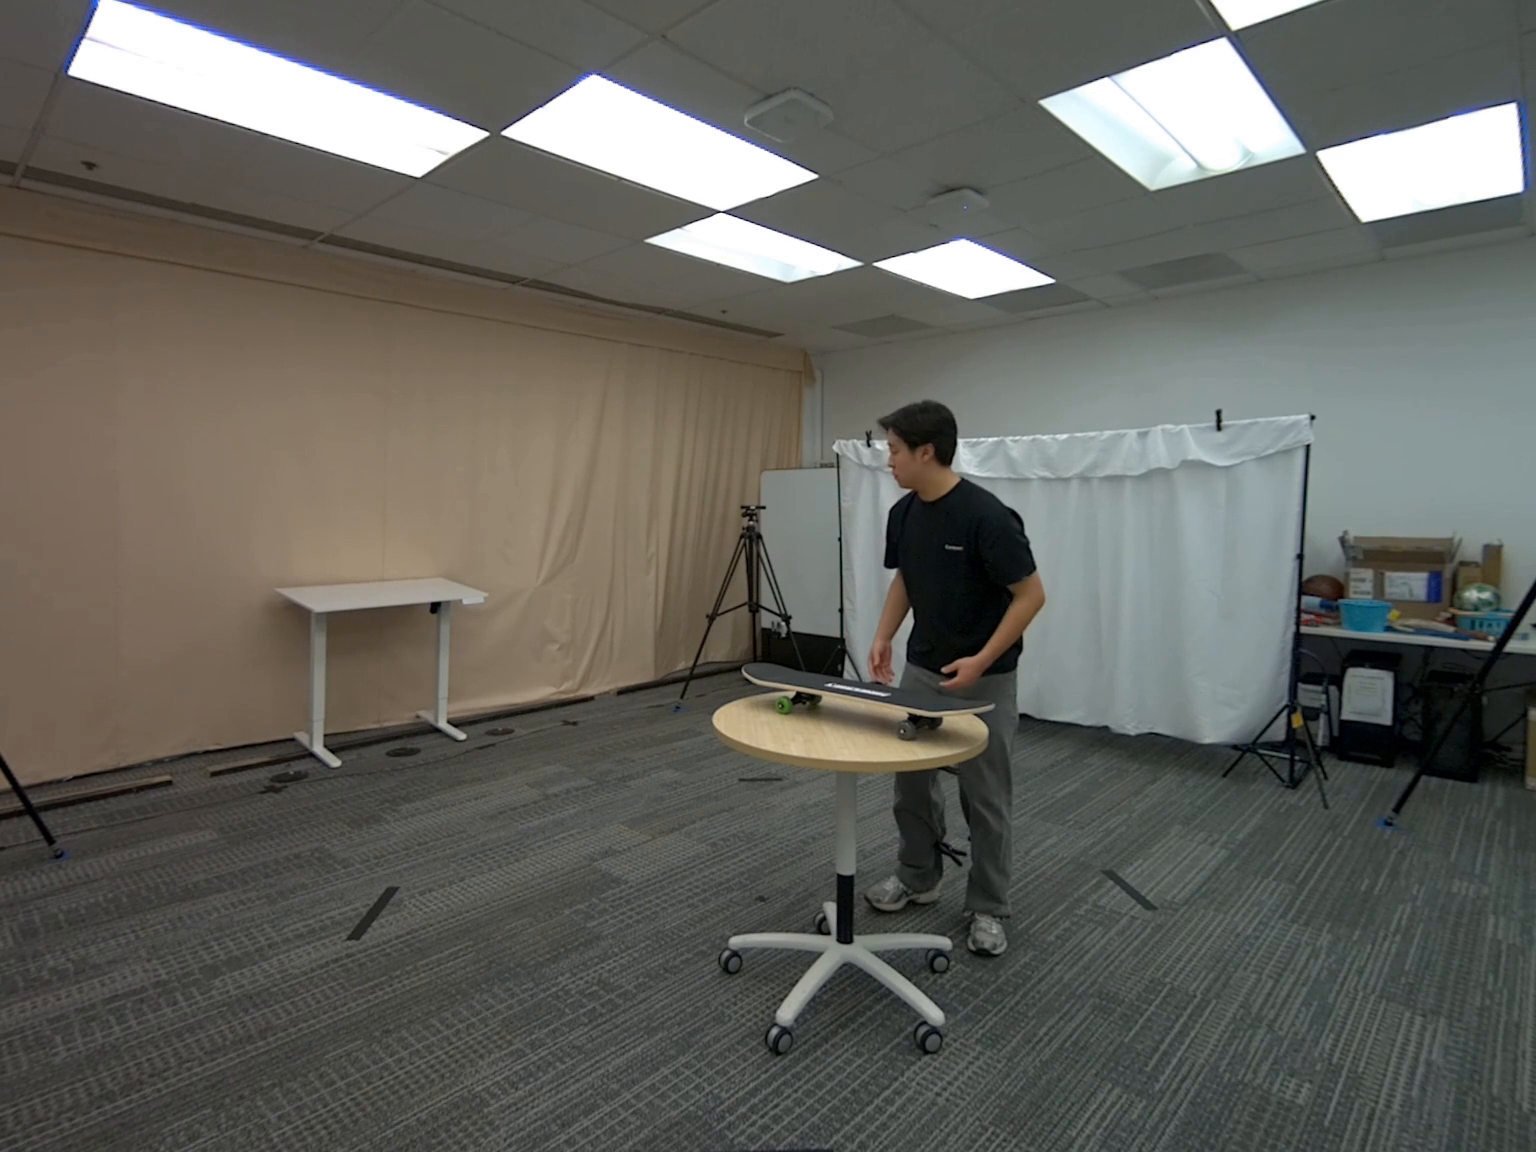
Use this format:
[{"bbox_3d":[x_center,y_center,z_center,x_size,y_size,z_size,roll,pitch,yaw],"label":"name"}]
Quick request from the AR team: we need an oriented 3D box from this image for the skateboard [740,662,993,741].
[{"bbox_3d":[0.262,0.354,2.386,0.812,0.110,0.188,5,8,42],"label":"skateboard"}]
